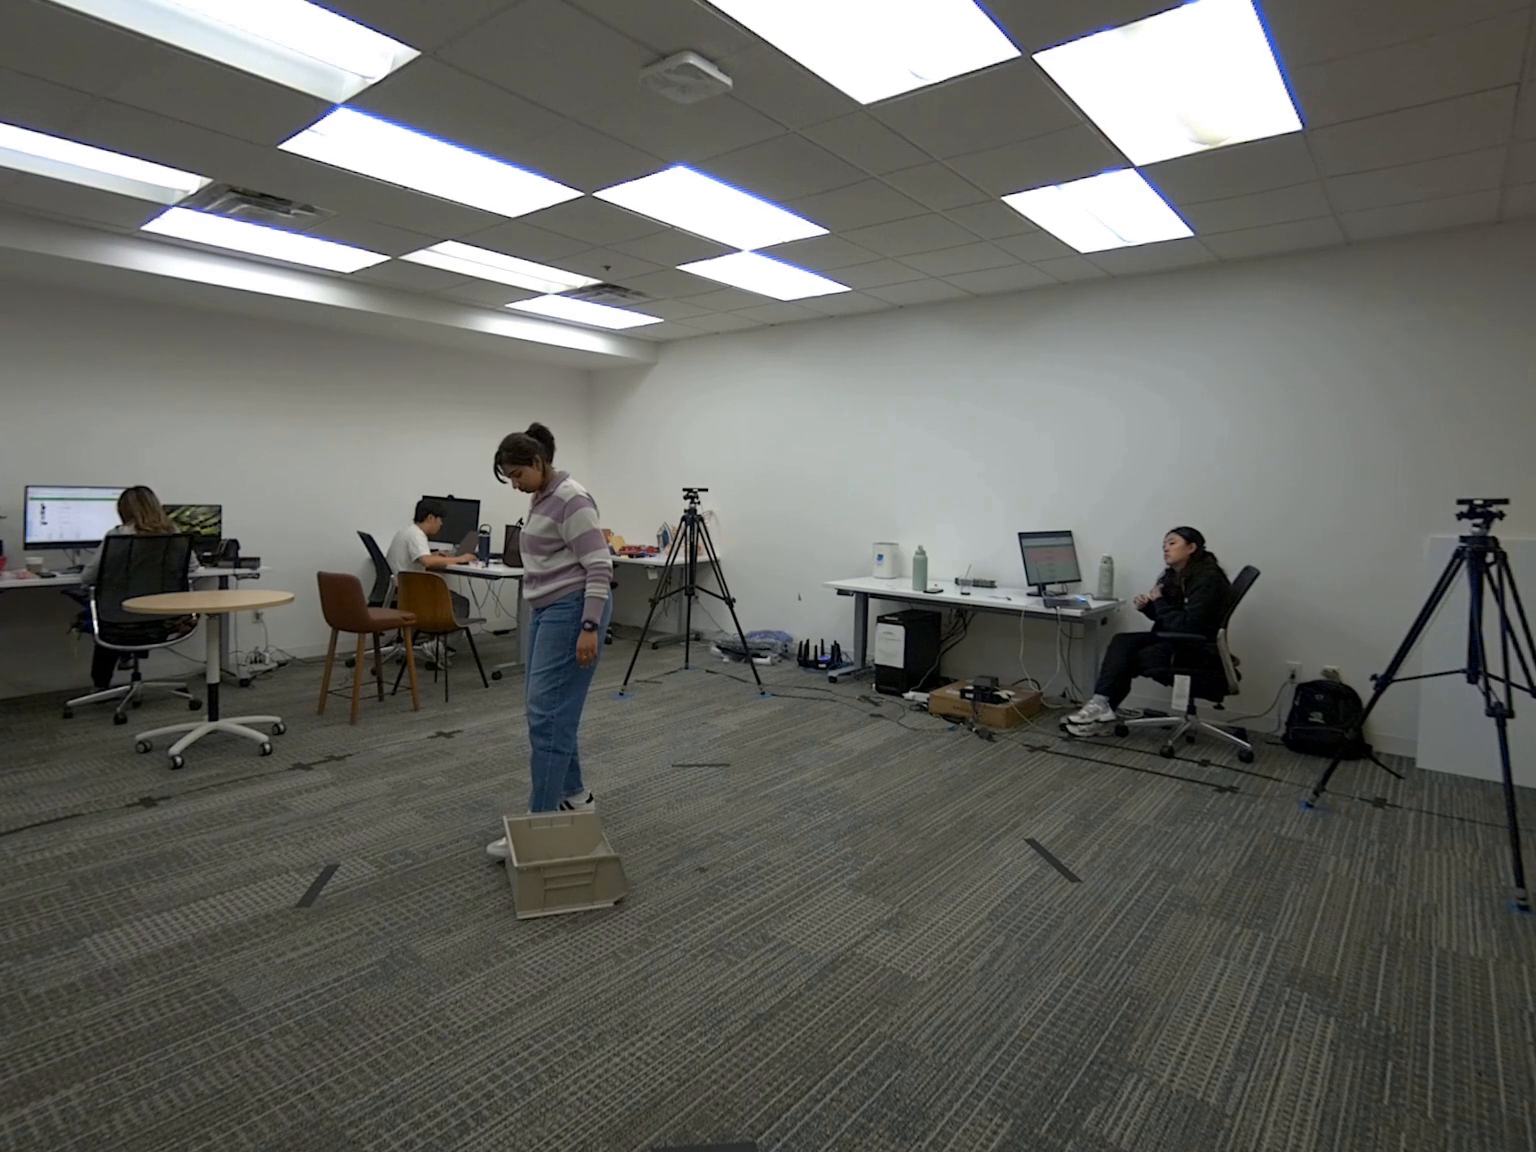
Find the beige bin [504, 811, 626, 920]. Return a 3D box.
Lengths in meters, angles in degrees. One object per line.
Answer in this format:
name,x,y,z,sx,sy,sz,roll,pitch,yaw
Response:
beige bin,-0.724,0.986,2.958,0.369,0.188,0.433,-1,6,-21
